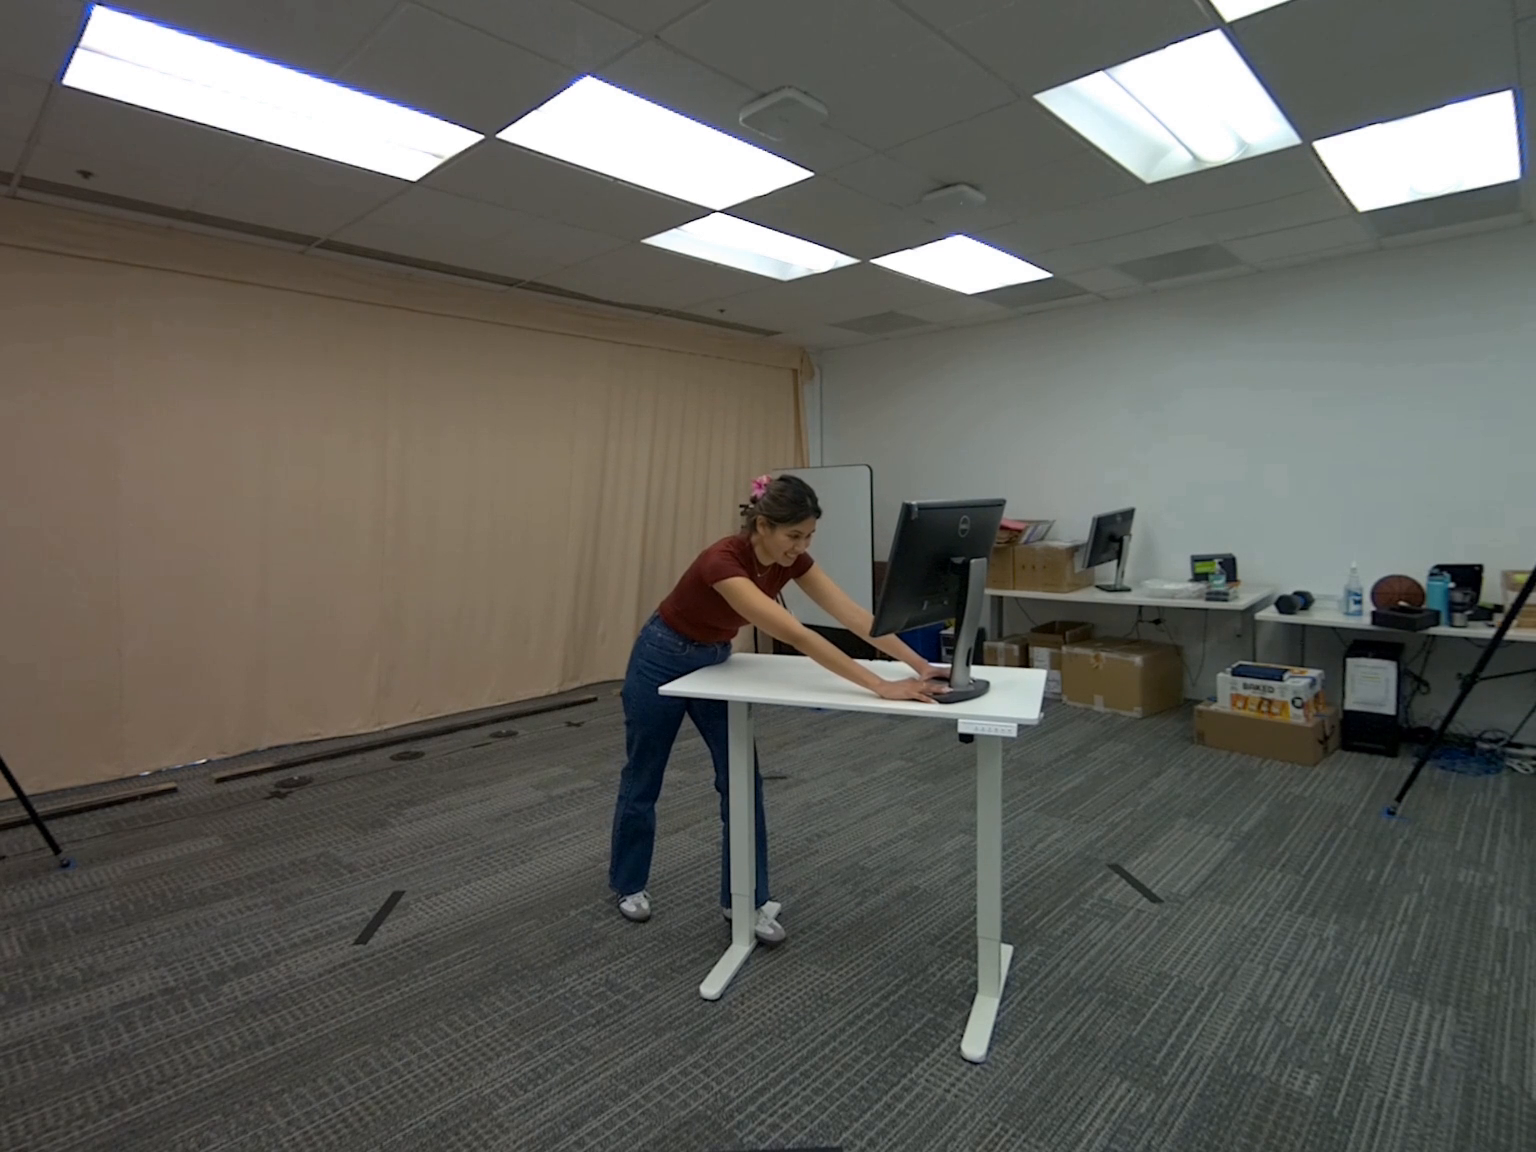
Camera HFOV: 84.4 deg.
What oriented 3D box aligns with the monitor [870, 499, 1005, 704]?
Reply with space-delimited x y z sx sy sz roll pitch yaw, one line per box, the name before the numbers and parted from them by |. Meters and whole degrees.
monitor | 0.493 0.058 2.241 0.193 0.521 0.524 3 7 36
